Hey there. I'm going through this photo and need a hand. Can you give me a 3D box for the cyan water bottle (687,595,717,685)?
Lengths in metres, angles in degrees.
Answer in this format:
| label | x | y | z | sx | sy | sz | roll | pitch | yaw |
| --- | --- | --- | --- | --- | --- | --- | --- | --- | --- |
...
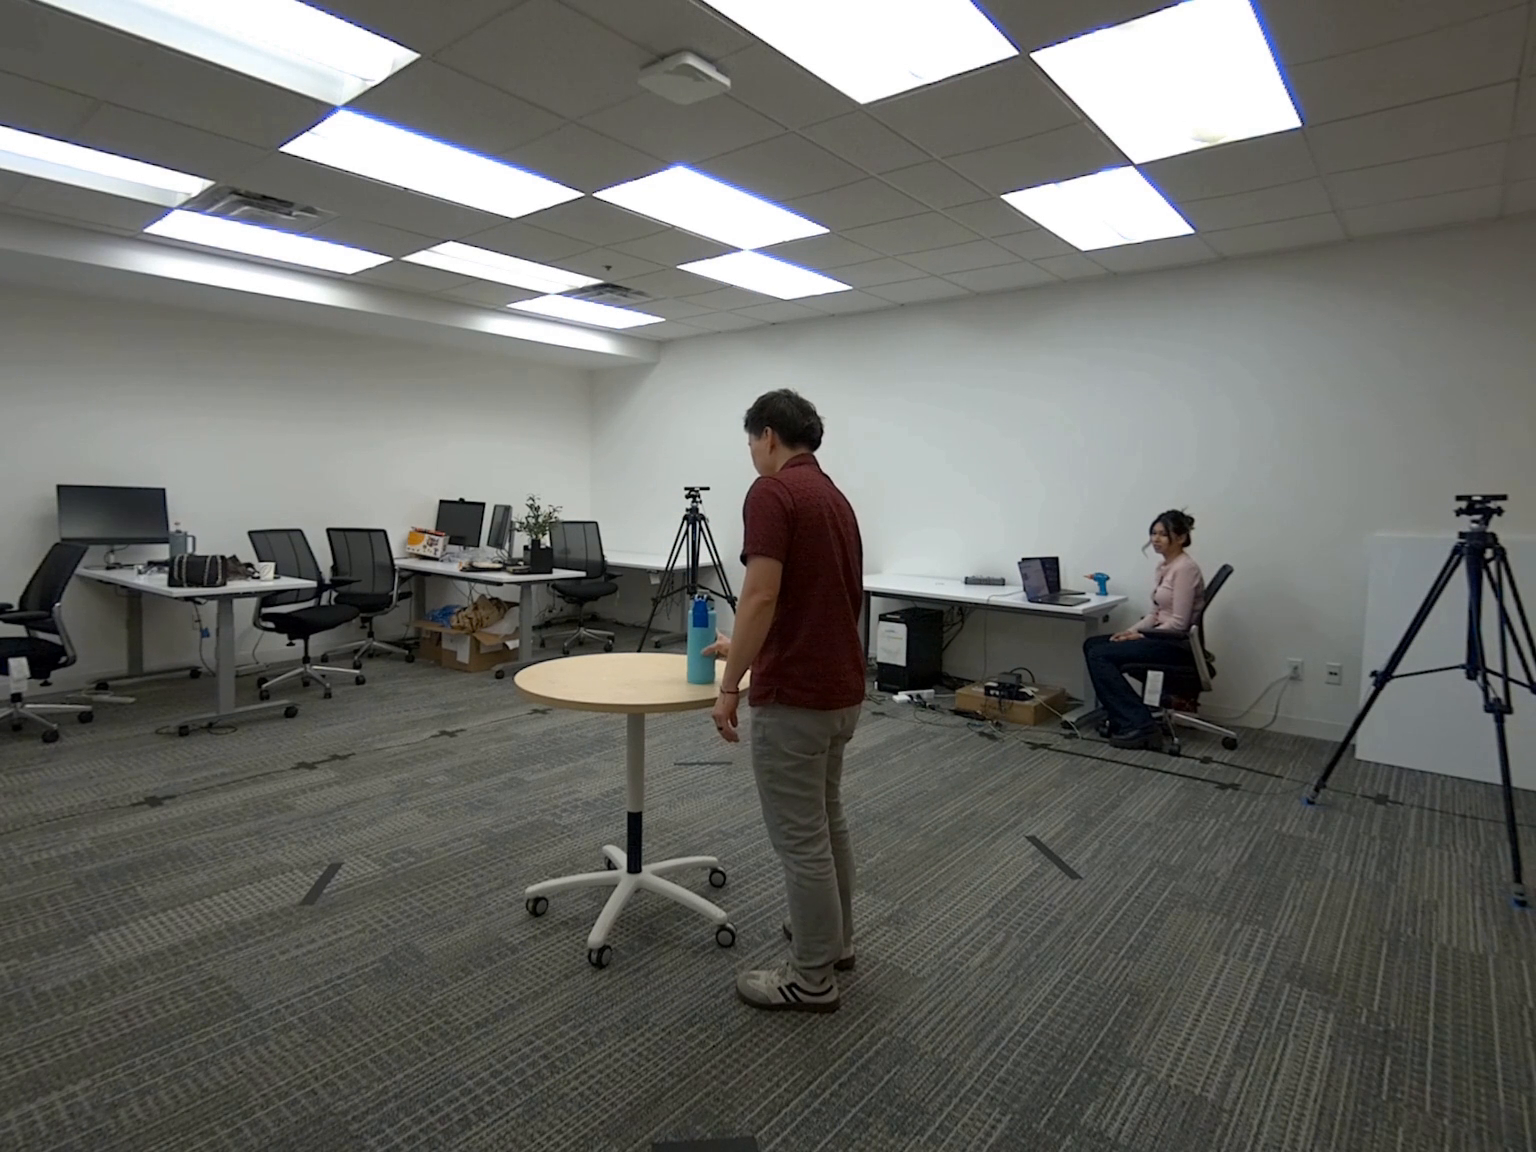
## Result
| label | x | y | z | sx | sy | sz | roll | pitch | yaw |
| --- | --- | --- | --- | --- | --- | --- | --- | --- | --- |
| cyan water bottle | -0.218 | 0.183 | 2.658 | 0.092 | 0.283 | 0.092 | 1 | 2 | -2 |
